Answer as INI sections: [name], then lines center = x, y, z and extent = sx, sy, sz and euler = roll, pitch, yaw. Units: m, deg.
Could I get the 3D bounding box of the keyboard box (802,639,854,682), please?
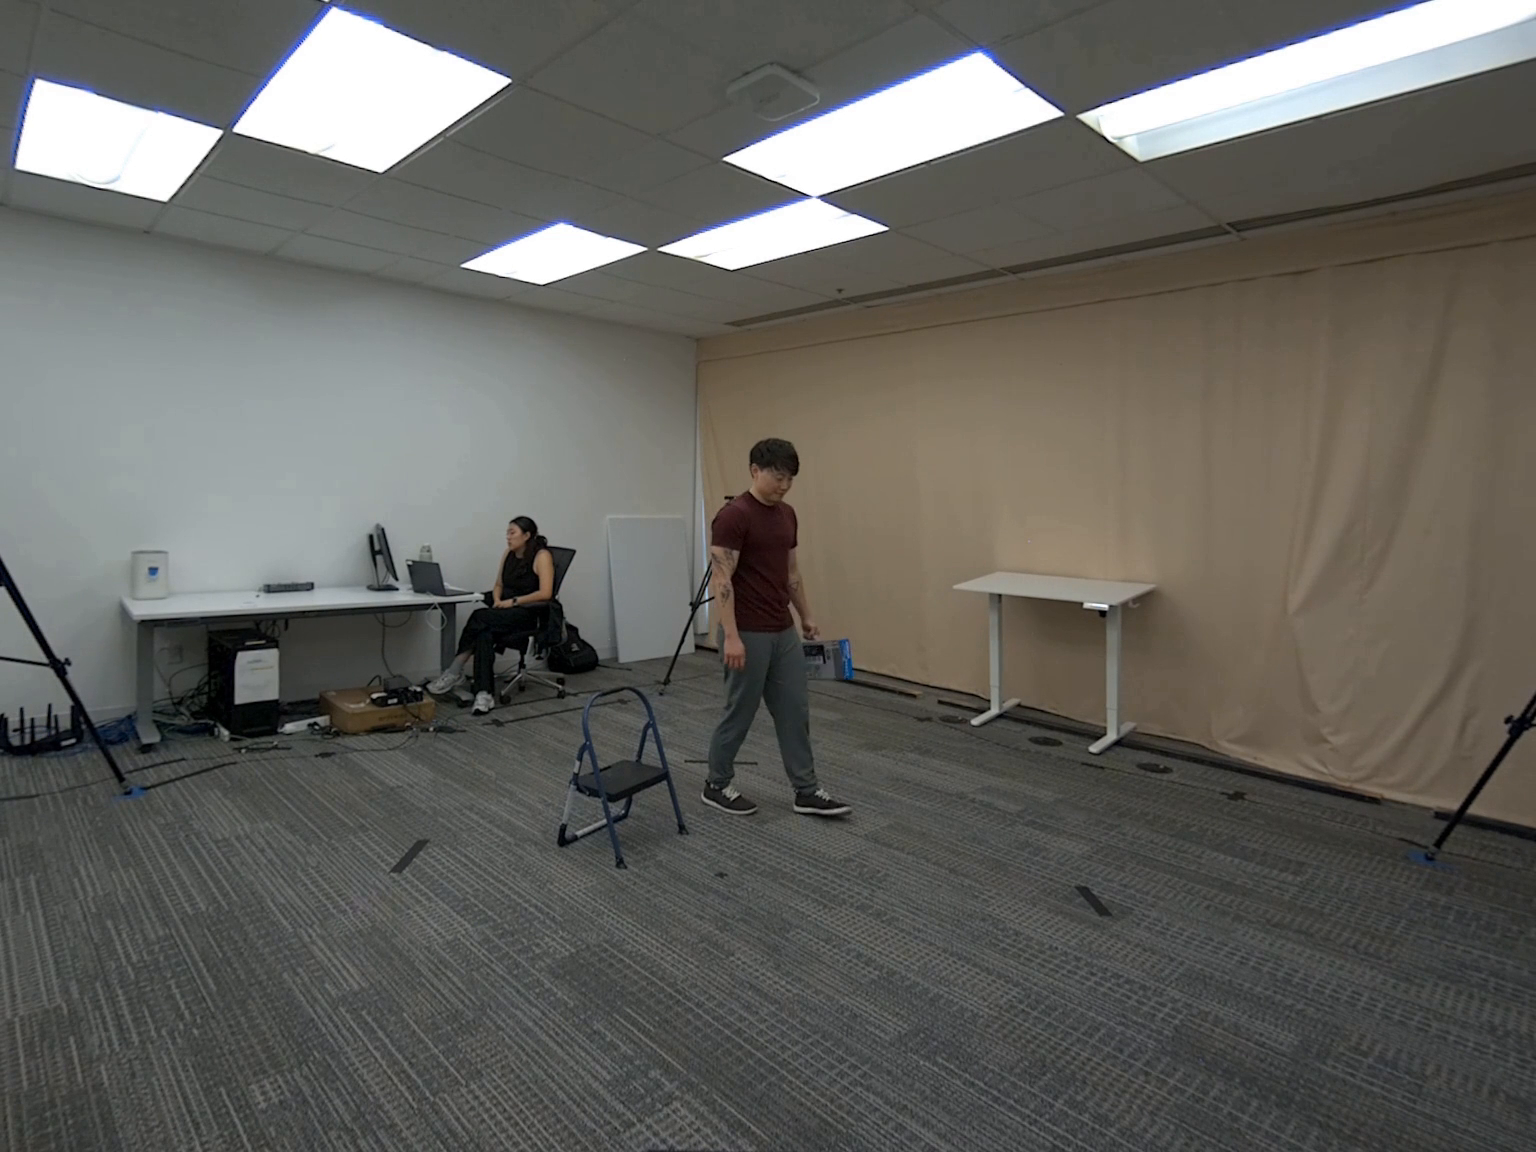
[keyboard box]
center = 0.189, 0.384, 3.875
extent = 0.058, 0.177, 0.445
euler = -2, -6, -41
